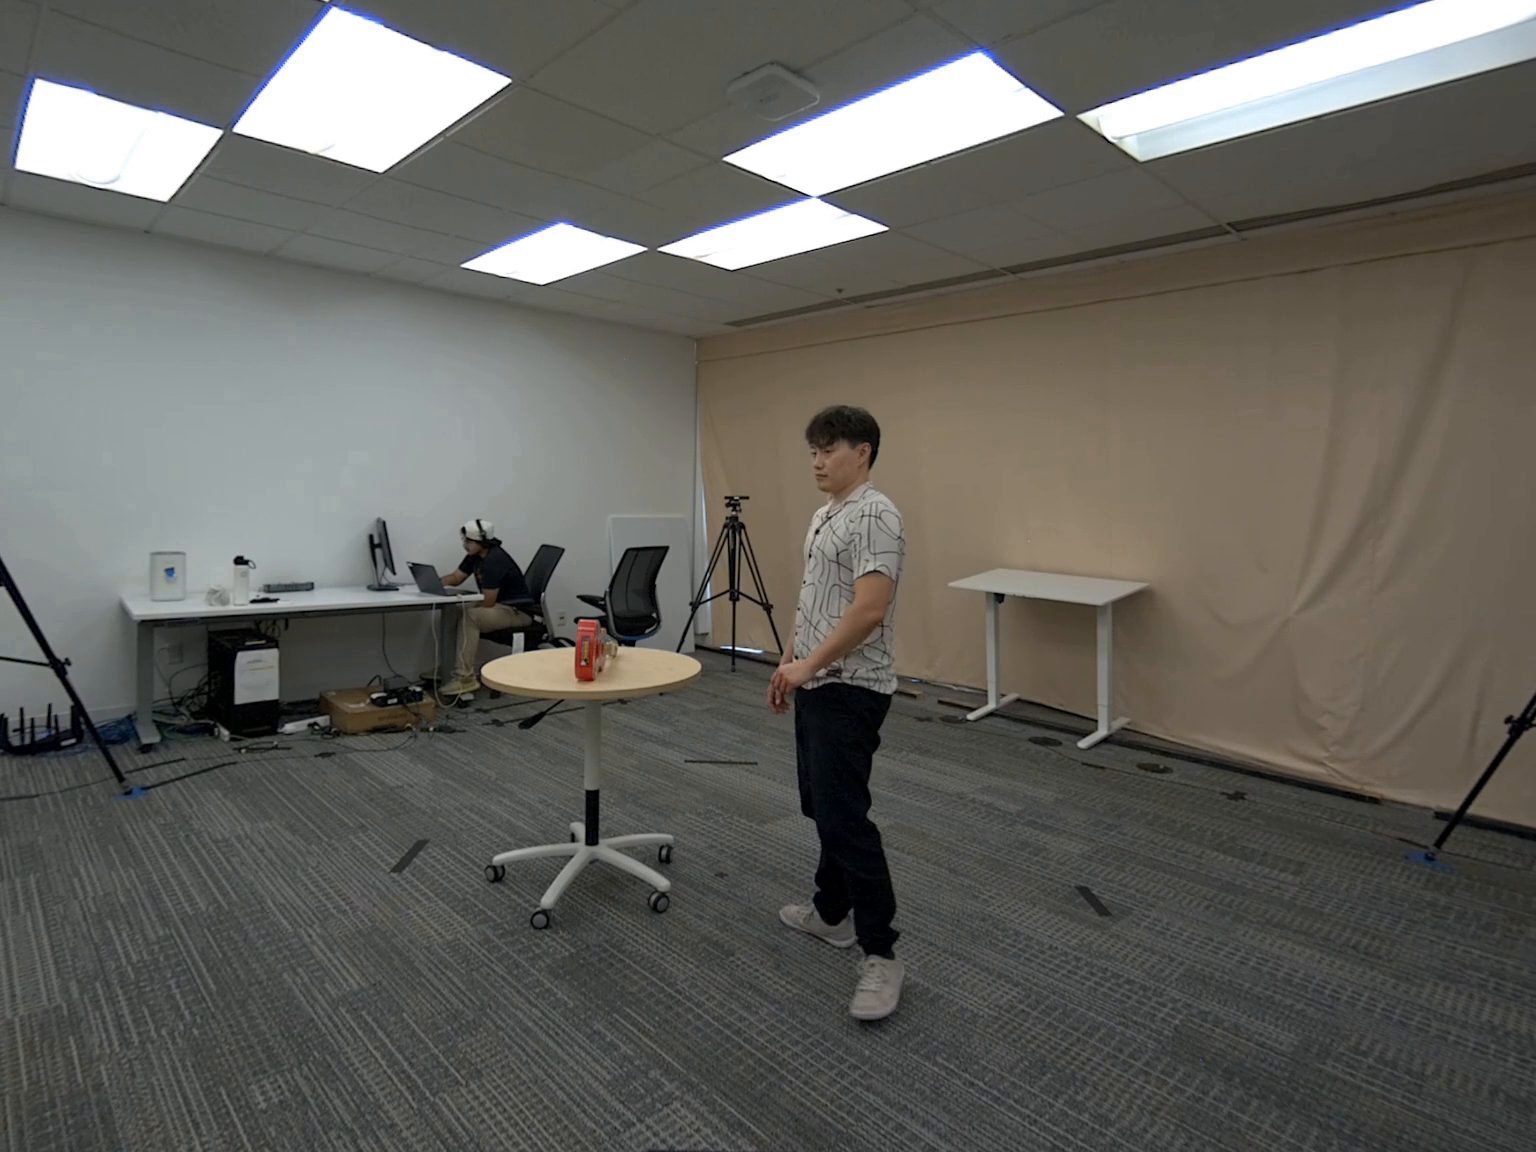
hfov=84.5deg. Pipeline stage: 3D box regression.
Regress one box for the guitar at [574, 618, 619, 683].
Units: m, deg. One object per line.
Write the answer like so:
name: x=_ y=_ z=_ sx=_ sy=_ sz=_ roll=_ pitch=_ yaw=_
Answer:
guitar: x=-0.597 y=0.286 z=2.935 sx=0.071 sy=0.195 sz=0.492 roll=0 pitch=-14 yaw=0
